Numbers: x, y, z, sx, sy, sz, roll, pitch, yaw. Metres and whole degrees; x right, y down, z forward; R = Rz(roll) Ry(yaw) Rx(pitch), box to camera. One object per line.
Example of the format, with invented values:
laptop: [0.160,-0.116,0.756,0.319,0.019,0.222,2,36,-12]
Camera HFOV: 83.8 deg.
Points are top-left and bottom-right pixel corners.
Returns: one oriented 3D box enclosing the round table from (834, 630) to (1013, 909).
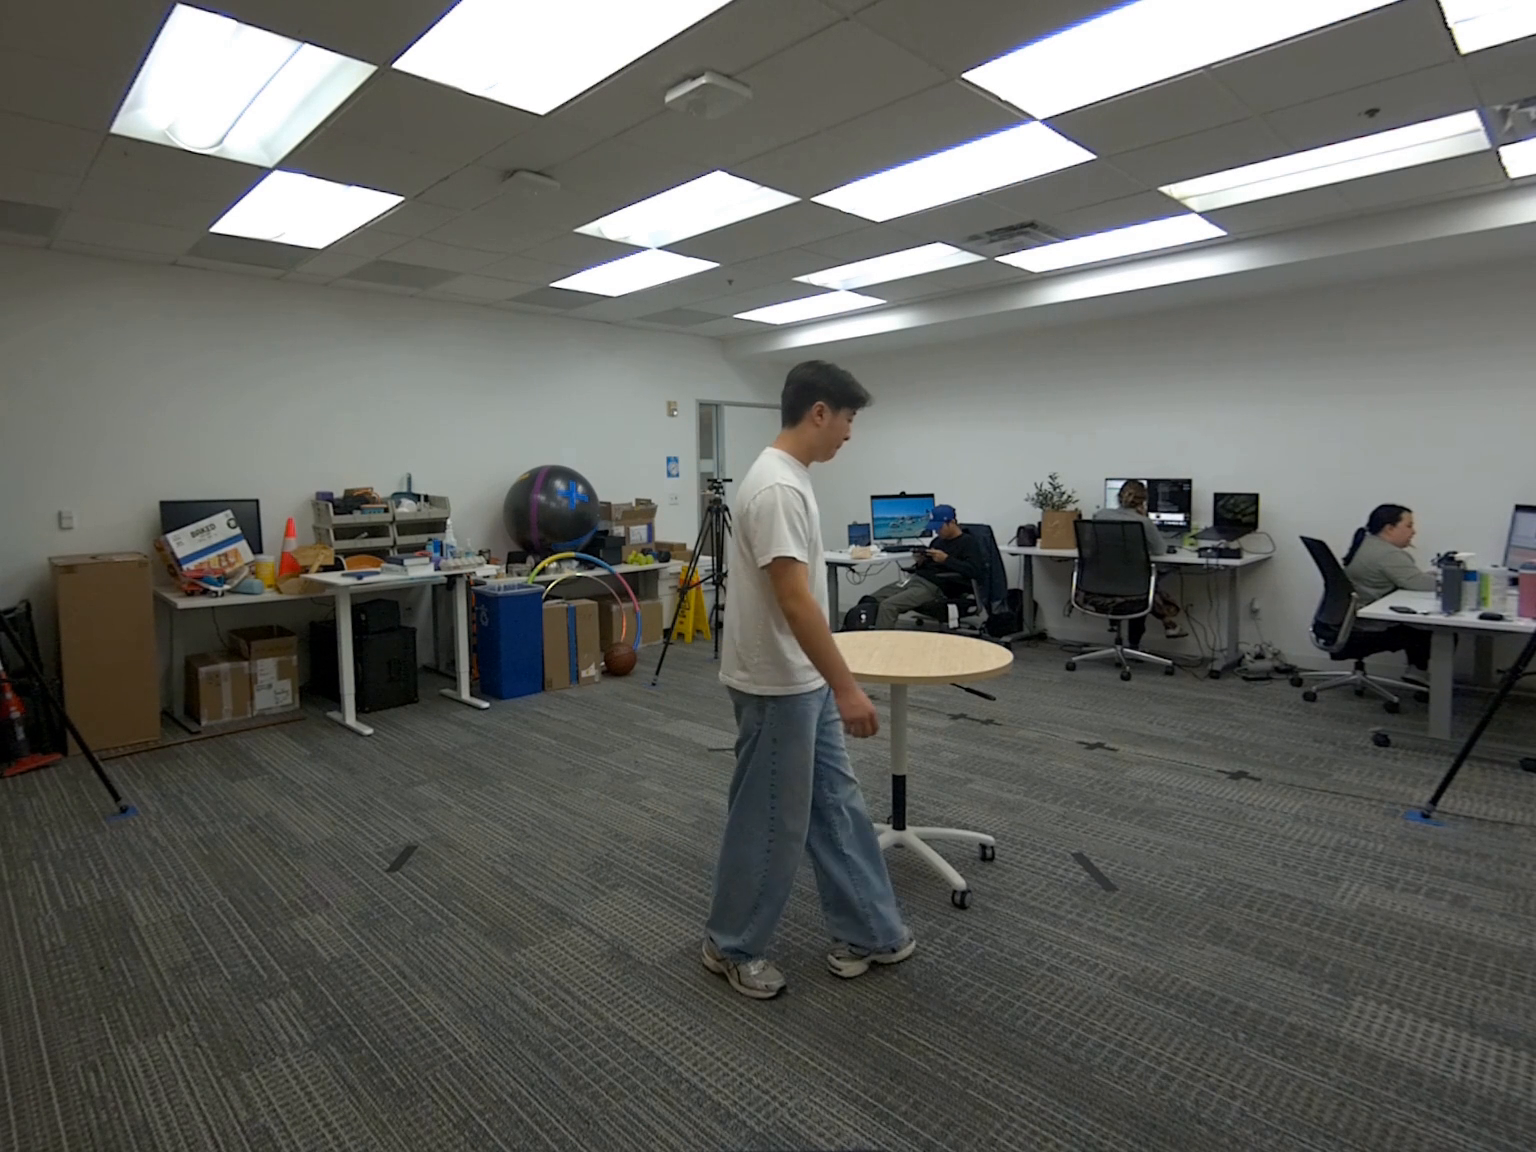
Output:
round table: [0.470,0.654,3.024,0.784,0.783,0.789,-1,5,-2]
